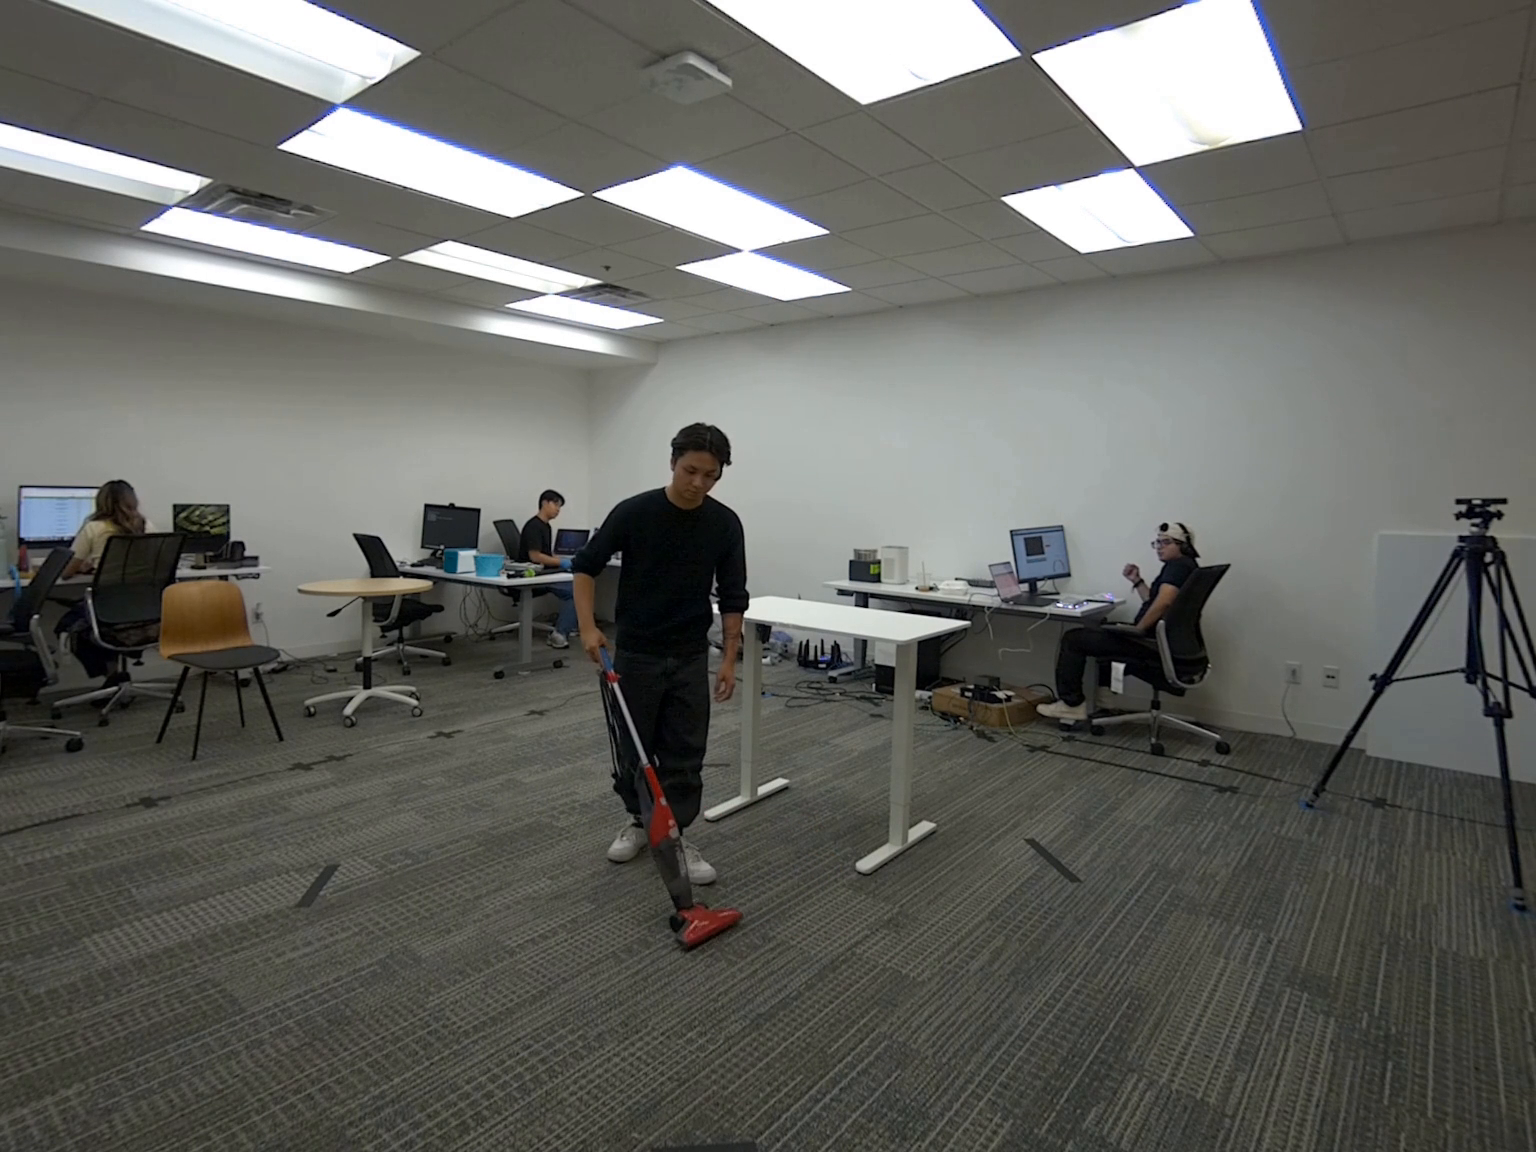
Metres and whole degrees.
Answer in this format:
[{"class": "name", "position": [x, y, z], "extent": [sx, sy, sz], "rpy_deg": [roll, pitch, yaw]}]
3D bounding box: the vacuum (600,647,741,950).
[{"class": "vacuum", "position": [-0.434, 0.656, 2.847], "extent": [0.245, 1.077, 0.144], "rpy_deg": [-2, -31, -48]}]
